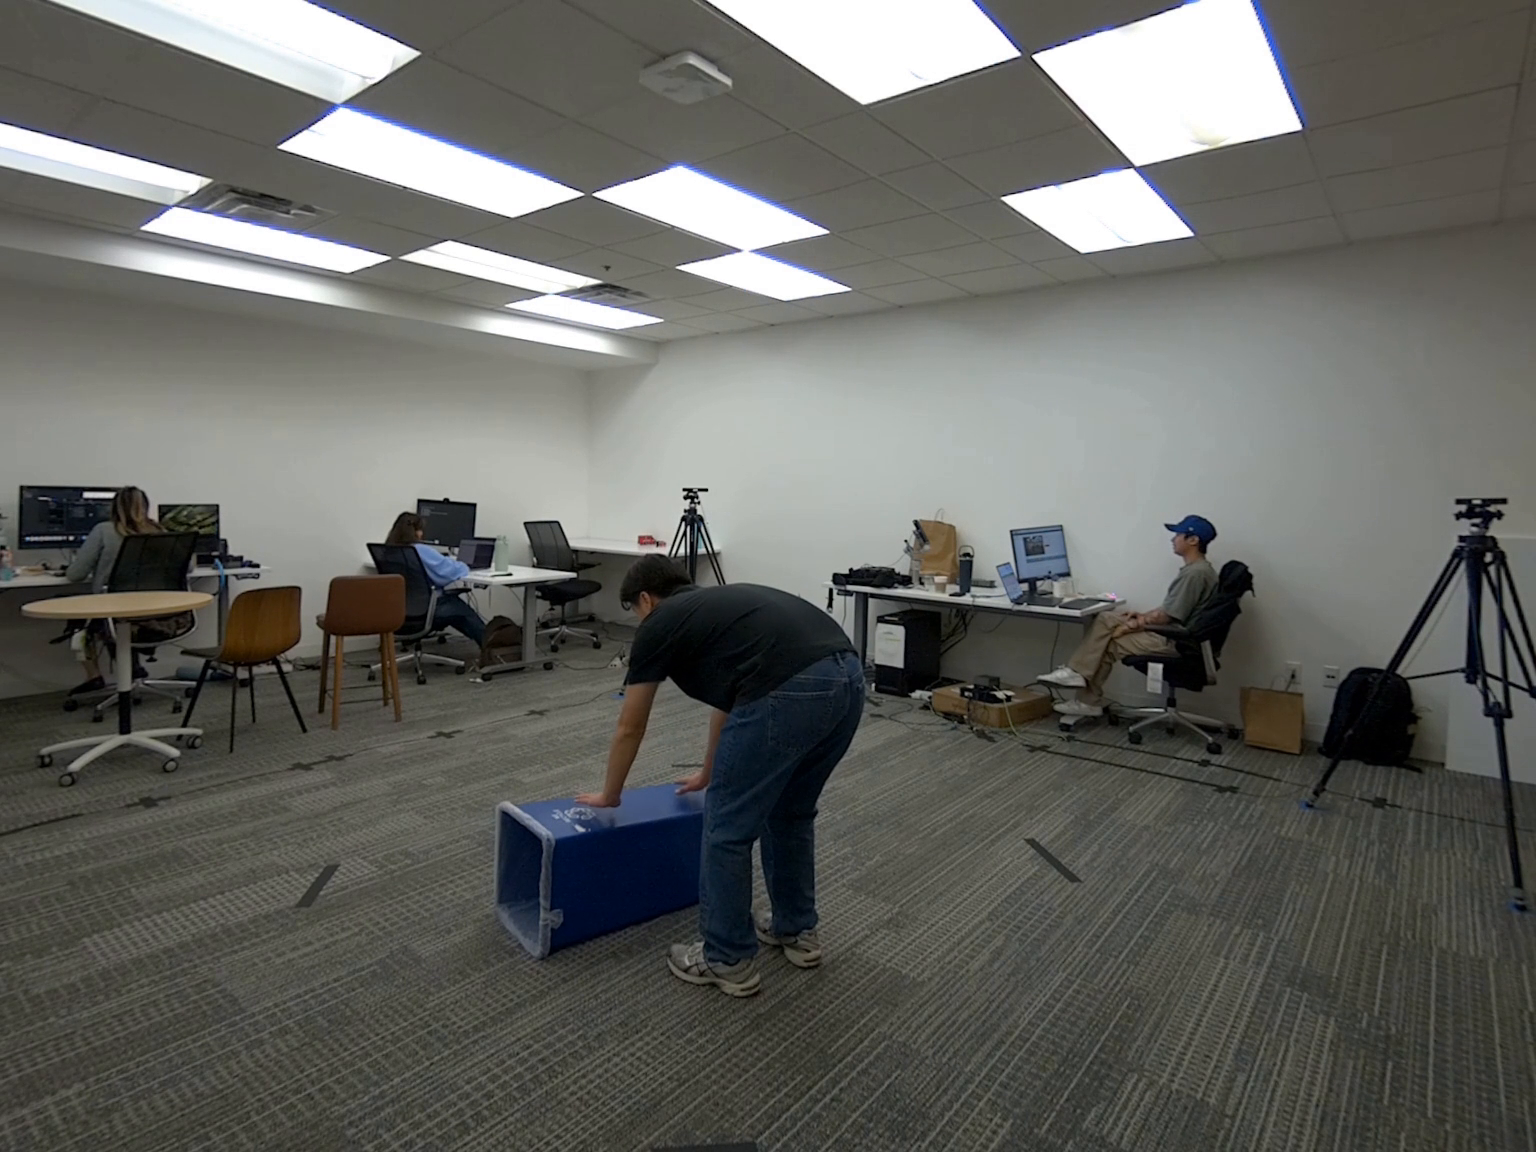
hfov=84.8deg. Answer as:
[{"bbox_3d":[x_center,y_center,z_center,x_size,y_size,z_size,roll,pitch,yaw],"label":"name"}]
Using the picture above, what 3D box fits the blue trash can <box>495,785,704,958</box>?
[{"bbox_3d":[-0.511,0.925,2.830,0.691,0.377,0.386,1,3,-38],"label":"blue trash can"}]
